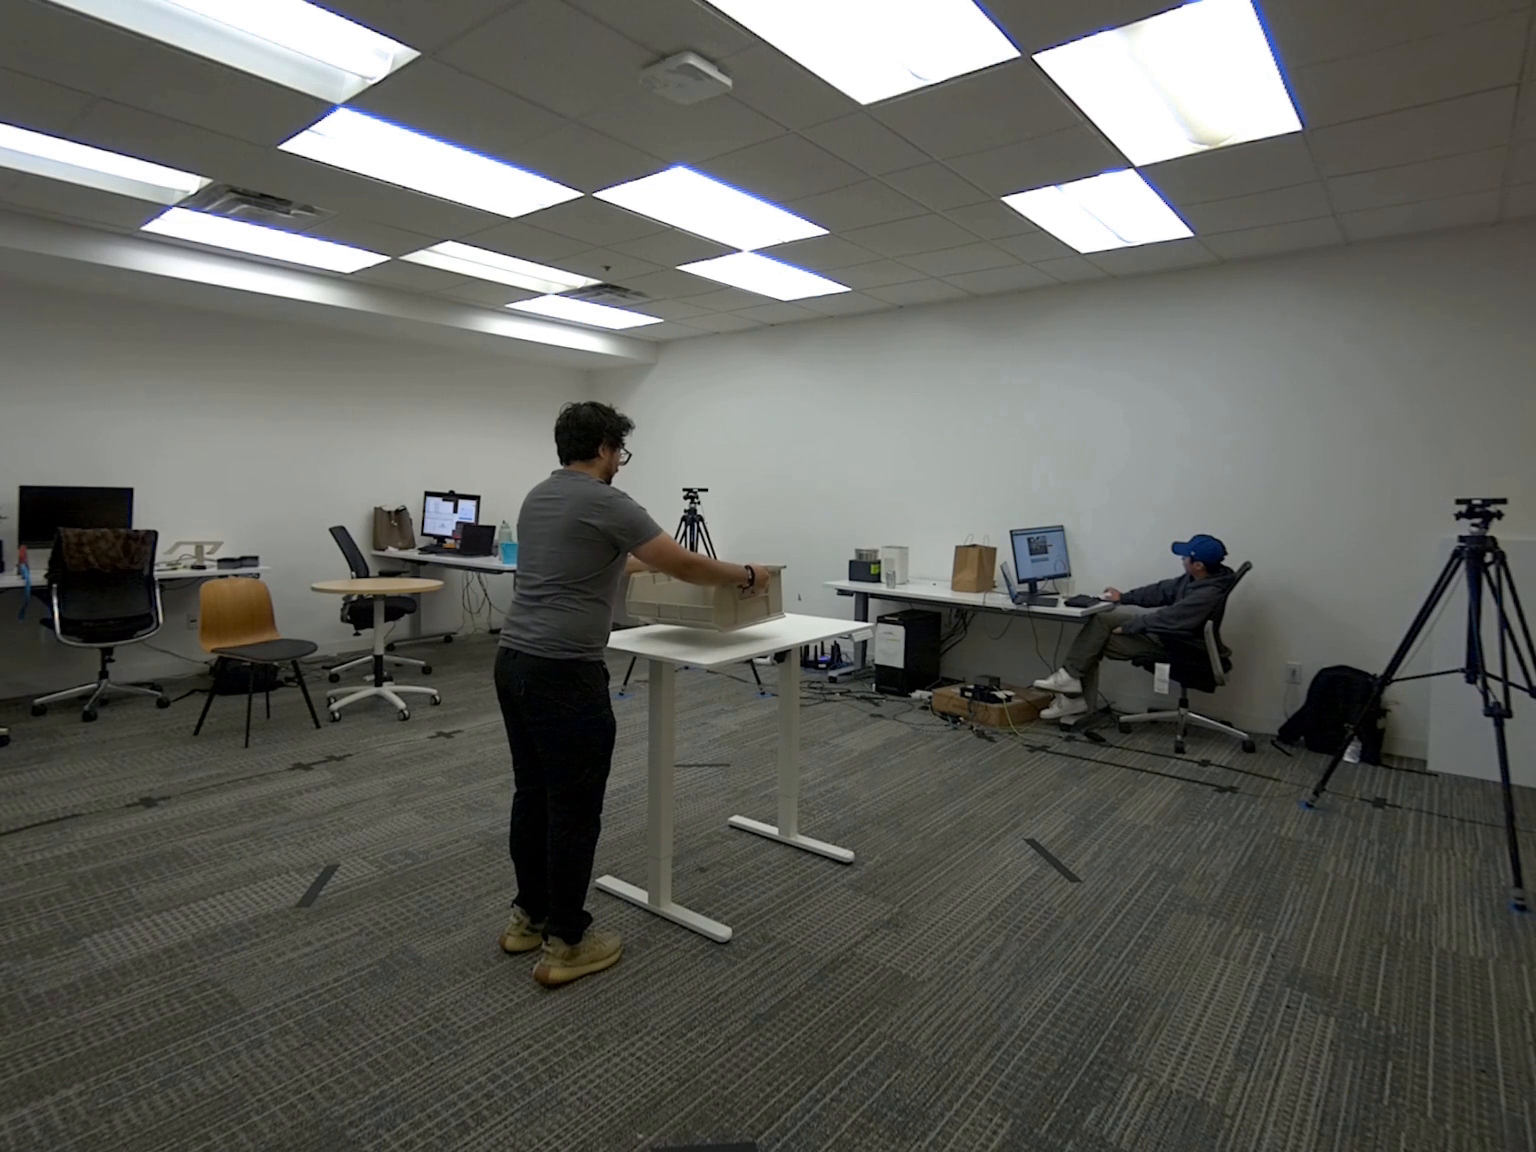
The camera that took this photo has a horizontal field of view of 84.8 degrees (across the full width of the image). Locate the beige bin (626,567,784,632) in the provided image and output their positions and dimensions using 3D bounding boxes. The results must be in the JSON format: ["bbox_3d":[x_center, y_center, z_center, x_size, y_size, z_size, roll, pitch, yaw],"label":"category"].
[{"bbox_3d":[-0.222,0.073,2.926,0.435,0.188,0.367,0,5,41],"label":"beige bin"}]
